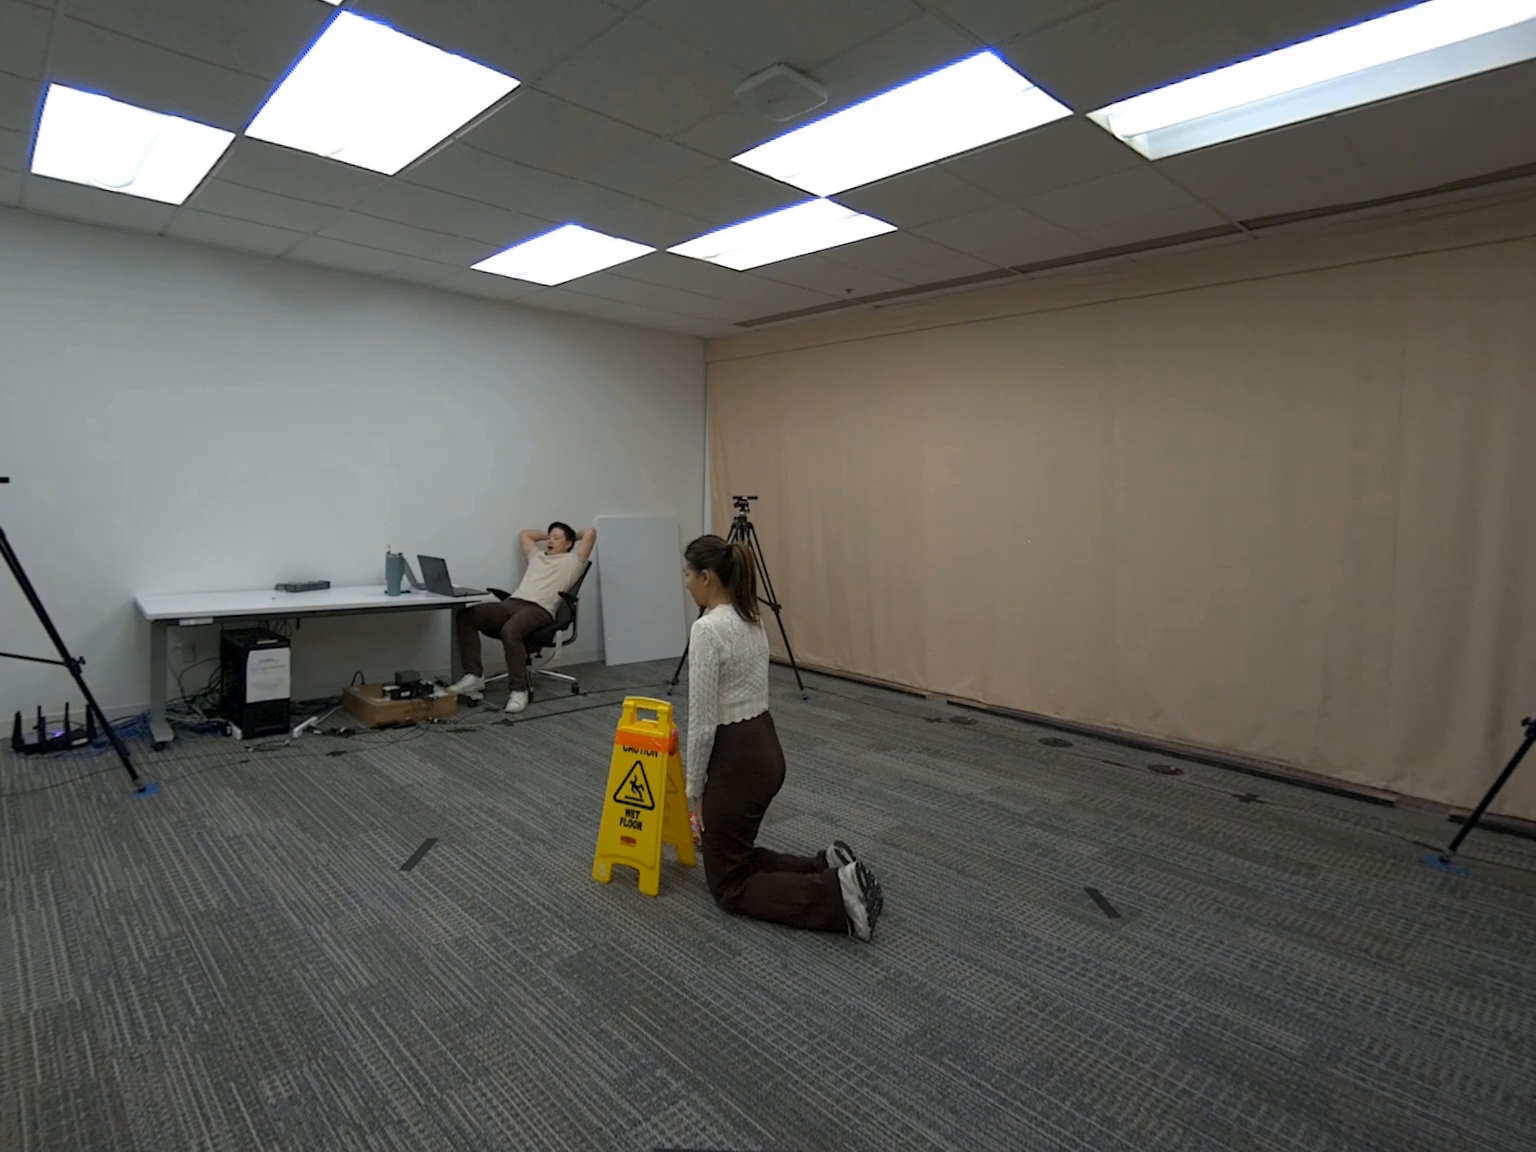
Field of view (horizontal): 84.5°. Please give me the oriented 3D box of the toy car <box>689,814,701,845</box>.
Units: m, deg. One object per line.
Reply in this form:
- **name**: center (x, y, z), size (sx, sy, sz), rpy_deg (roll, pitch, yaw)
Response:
- **toy car**: center (-0.278, 1.043, 3.421), size (0.127, 0.082, 0.262), rpy_deg (0, 16, -32)
